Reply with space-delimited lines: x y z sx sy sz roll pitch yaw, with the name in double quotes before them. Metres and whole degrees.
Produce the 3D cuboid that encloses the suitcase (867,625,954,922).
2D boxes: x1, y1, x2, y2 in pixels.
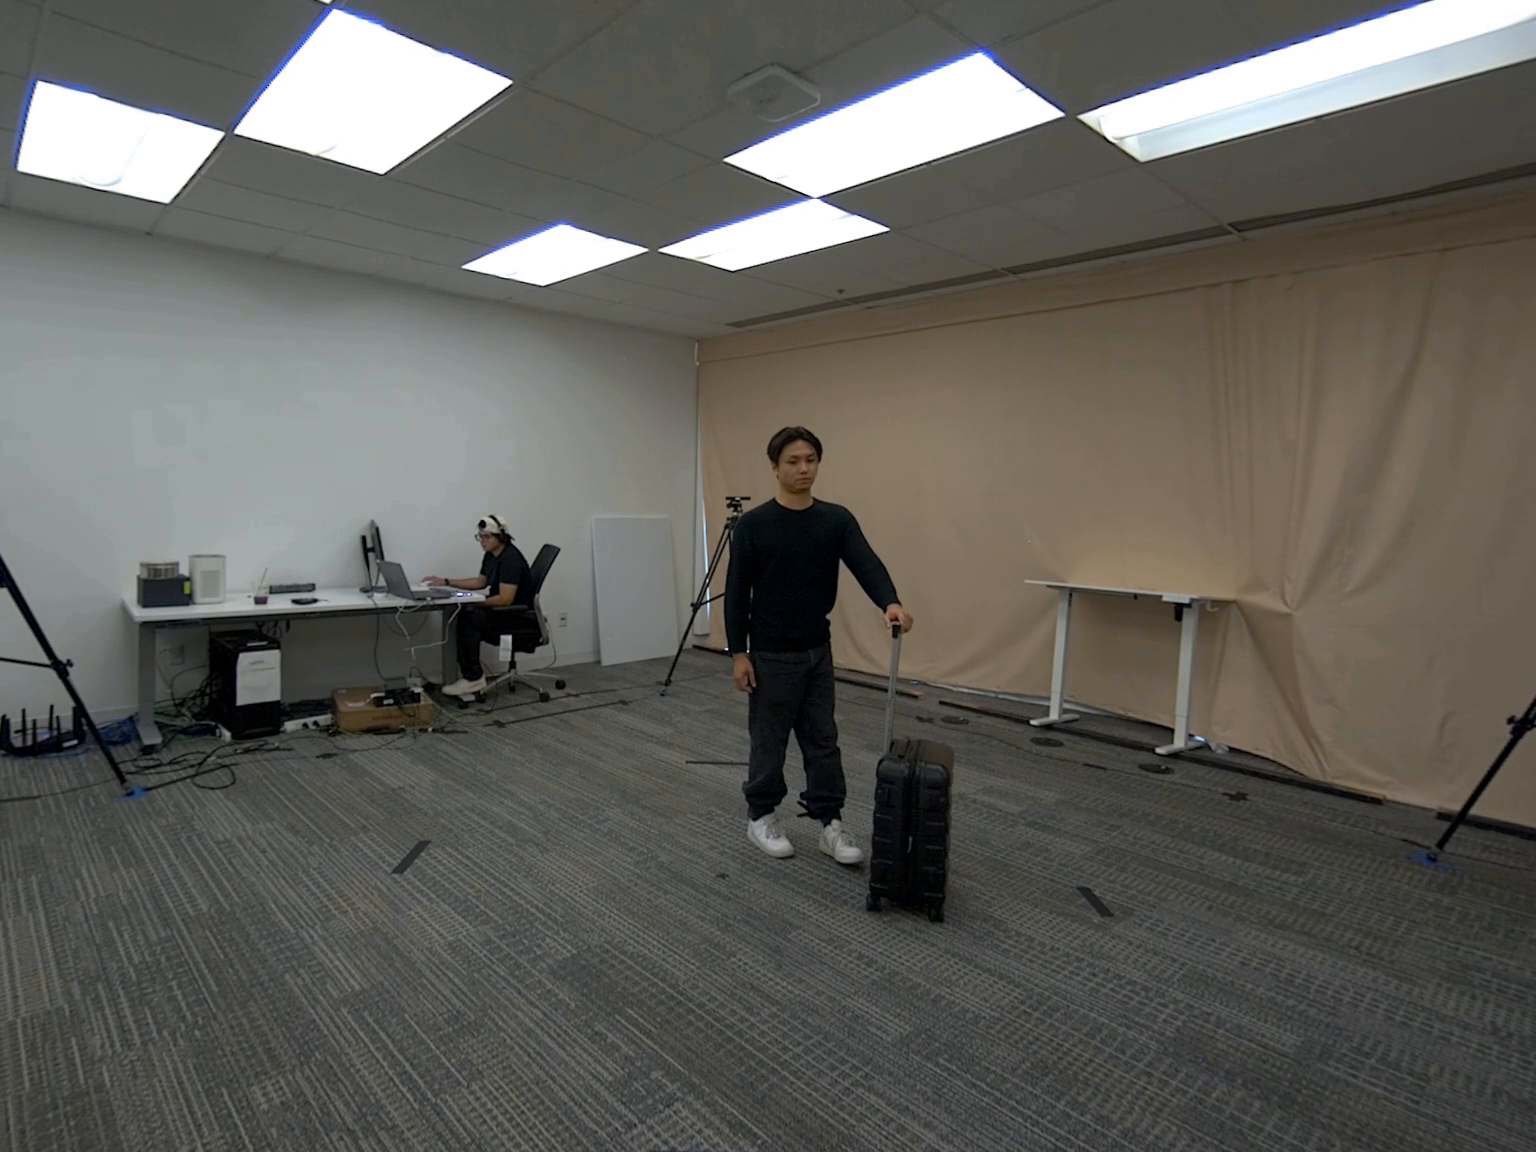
"suitcase" 0.513 0.662 2.924 0.261 0.975 0.380 4 5 16
